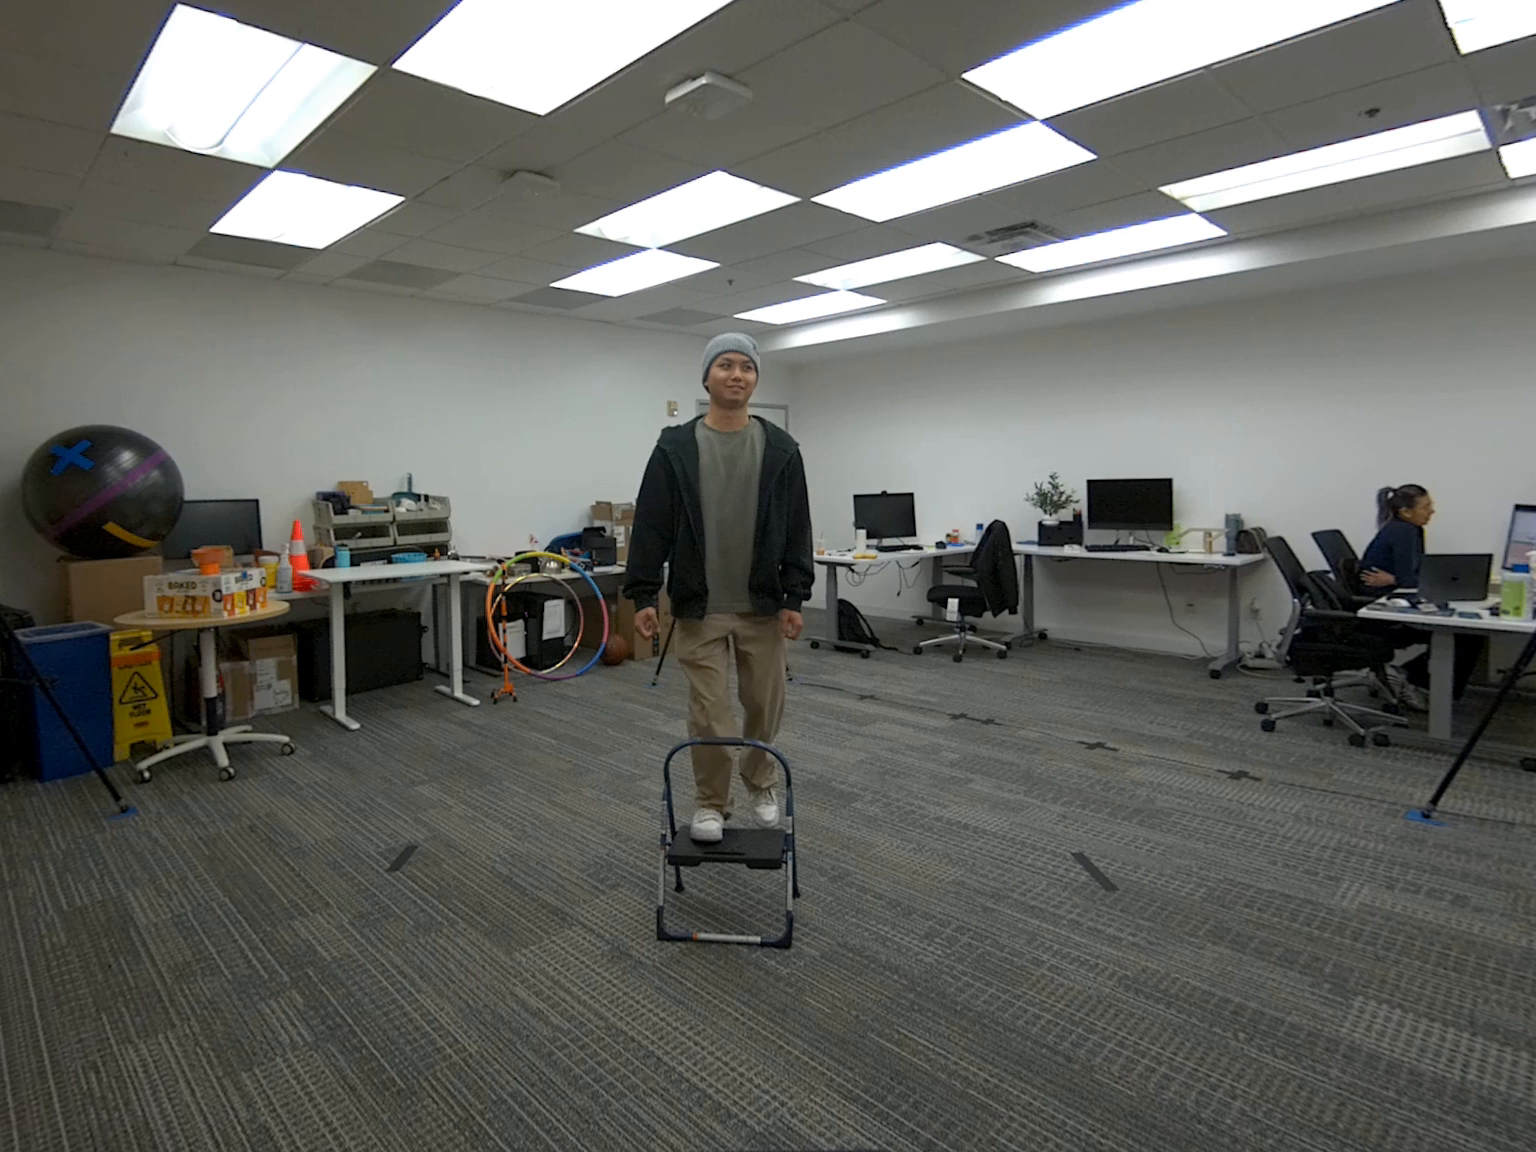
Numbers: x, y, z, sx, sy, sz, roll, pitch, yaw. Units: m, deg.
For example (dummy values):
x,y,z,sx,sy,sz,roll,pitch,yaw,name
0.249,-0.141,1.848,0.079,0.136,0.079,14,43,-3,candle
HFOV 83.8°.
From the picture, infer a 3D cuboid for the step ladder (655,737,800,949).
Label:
x,y,z,sx,sy,sz,roll,pitch,yaw,name
-0.123,0.796,2.714,0.434,0.604,0.348,-1,4,7,step ladder
